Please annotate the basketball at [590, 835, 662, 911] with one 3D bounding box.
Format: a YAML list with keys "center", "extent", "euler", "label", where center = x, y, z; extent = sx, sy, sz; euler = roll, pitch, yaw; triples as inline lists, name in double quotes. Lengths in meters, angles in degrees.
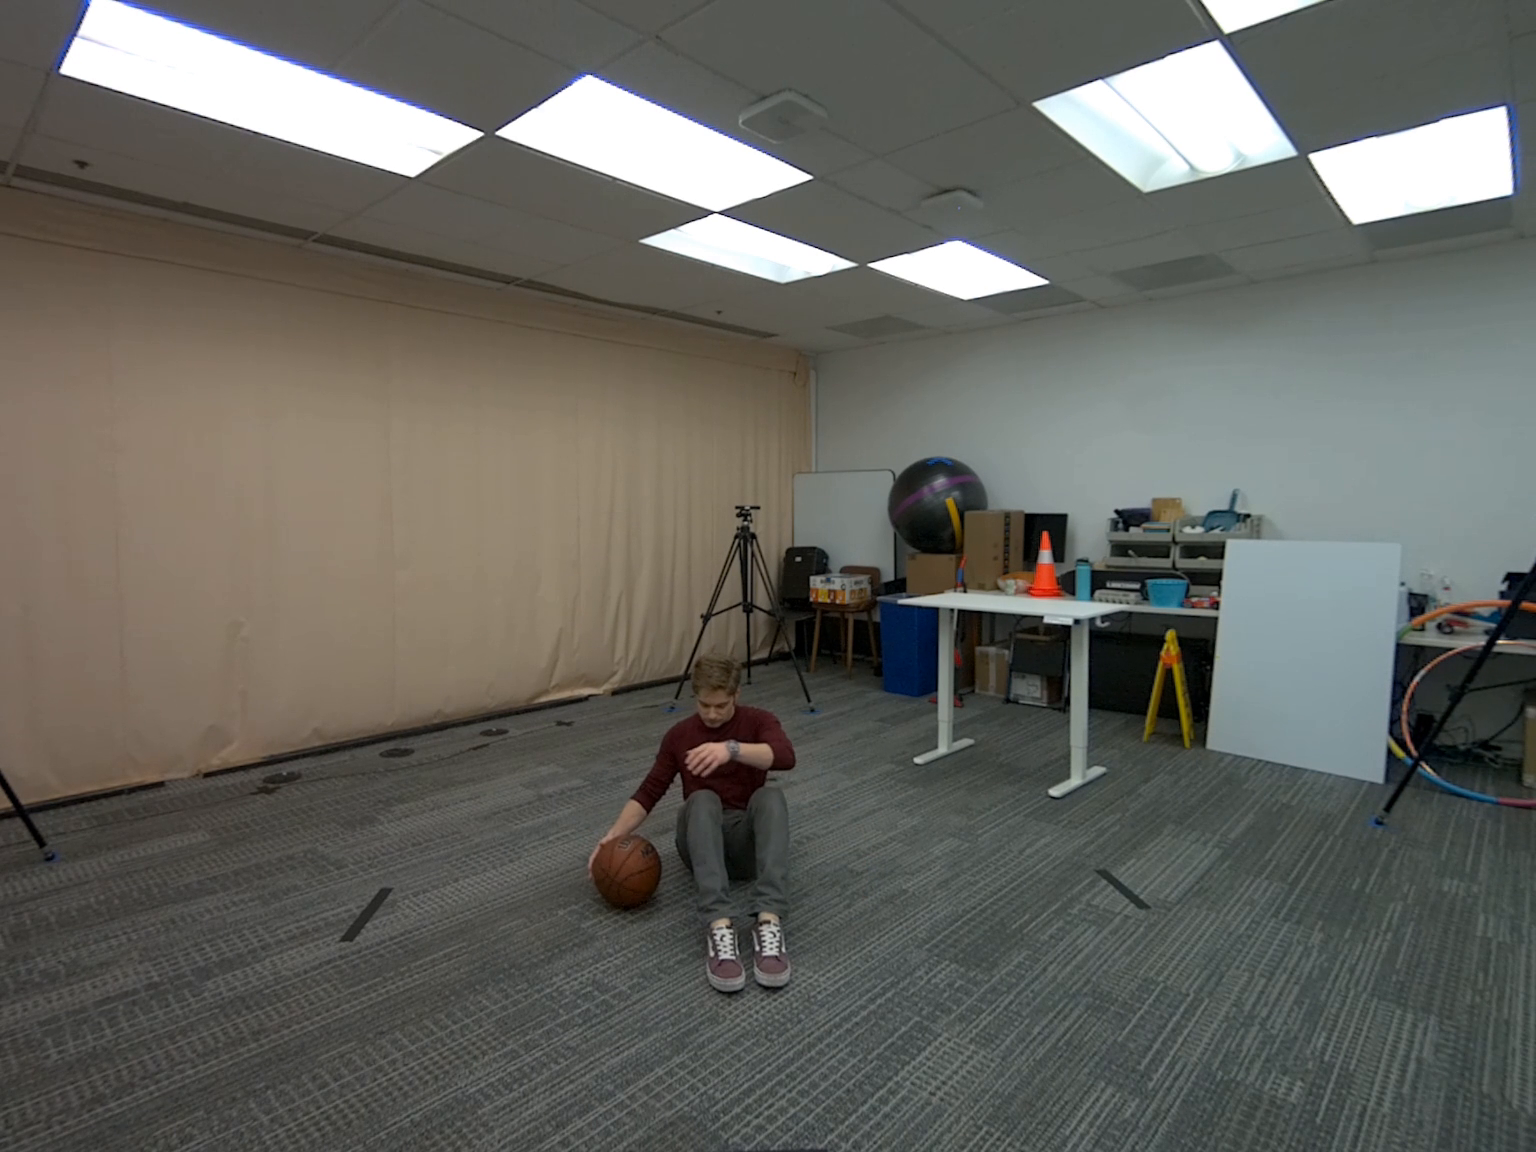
- center: [-0.485, 1.032, 2.950]
  extent: [0.236, 0.235, 0.237]
  euler: [0, 4, -2]
  label: "basketball"
